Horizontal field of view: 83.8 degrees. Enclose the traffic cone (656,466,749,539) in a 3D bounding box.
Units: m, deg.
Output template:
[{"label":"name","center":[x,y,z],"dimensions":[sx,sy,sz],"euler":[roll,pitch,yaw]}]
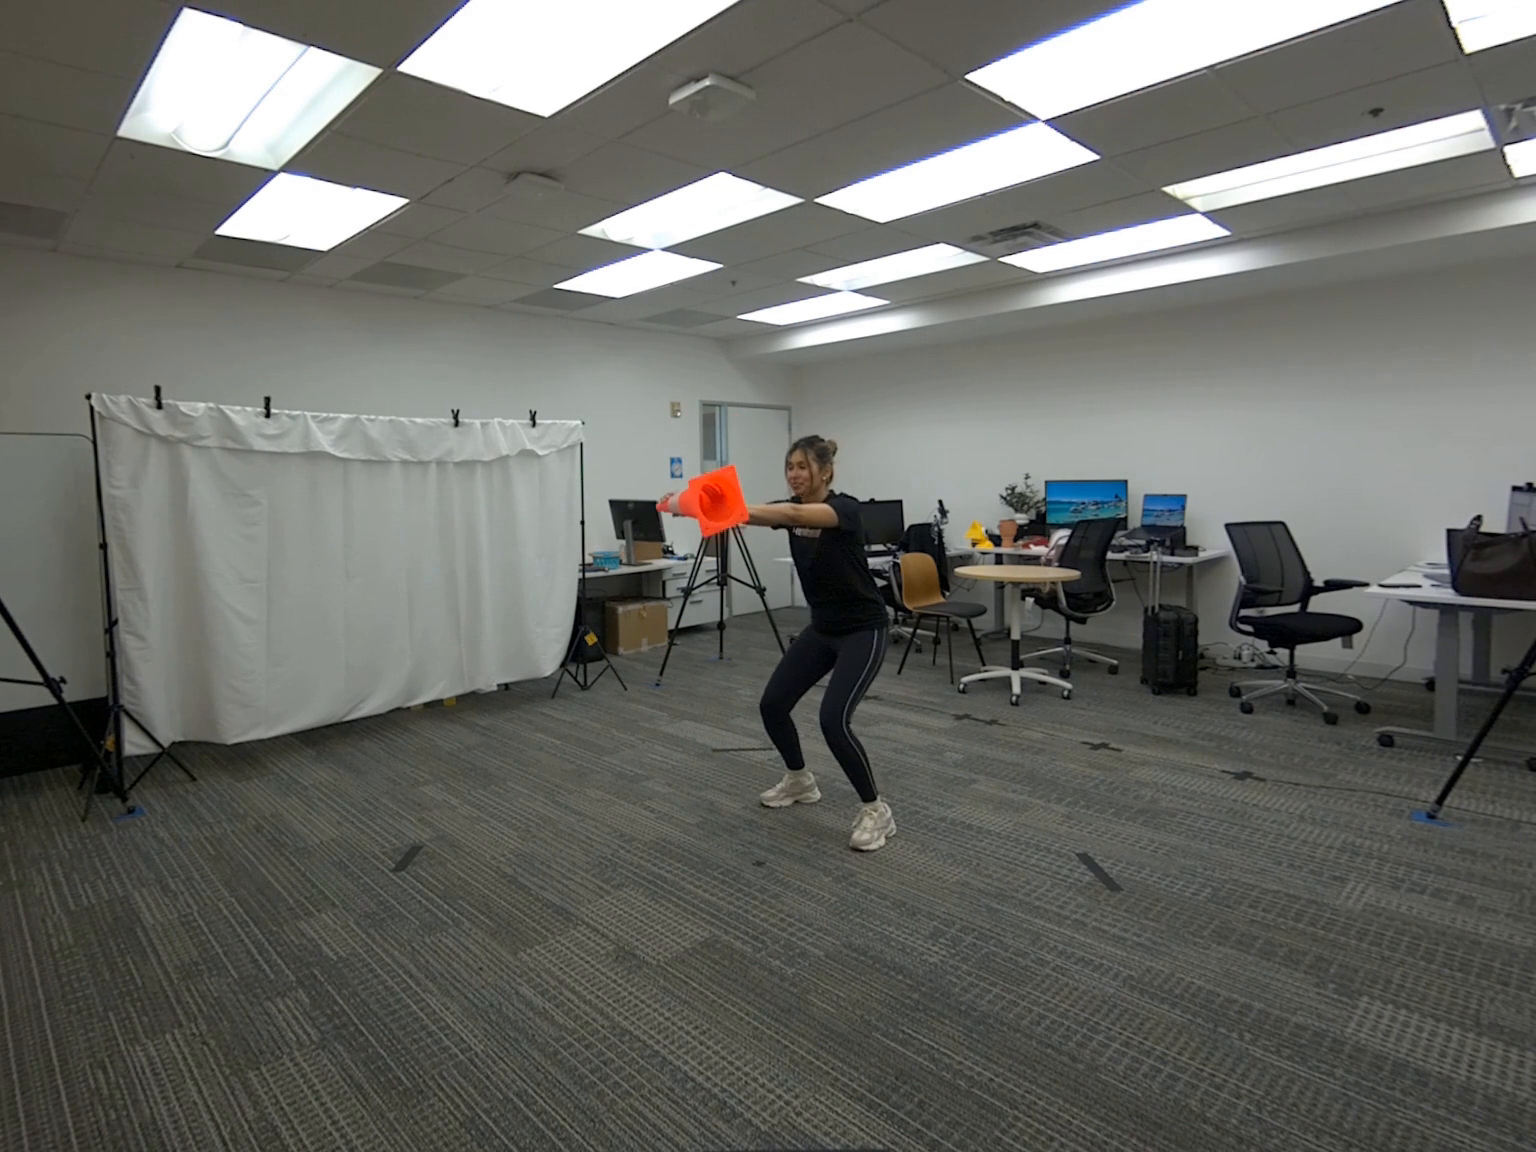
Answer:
[{"label":"traffic cone","center":[-0.270,-0.248,2.987],"dimensions":[0.200,0.203,0.394],"euler":[-23,13,-34]}]
